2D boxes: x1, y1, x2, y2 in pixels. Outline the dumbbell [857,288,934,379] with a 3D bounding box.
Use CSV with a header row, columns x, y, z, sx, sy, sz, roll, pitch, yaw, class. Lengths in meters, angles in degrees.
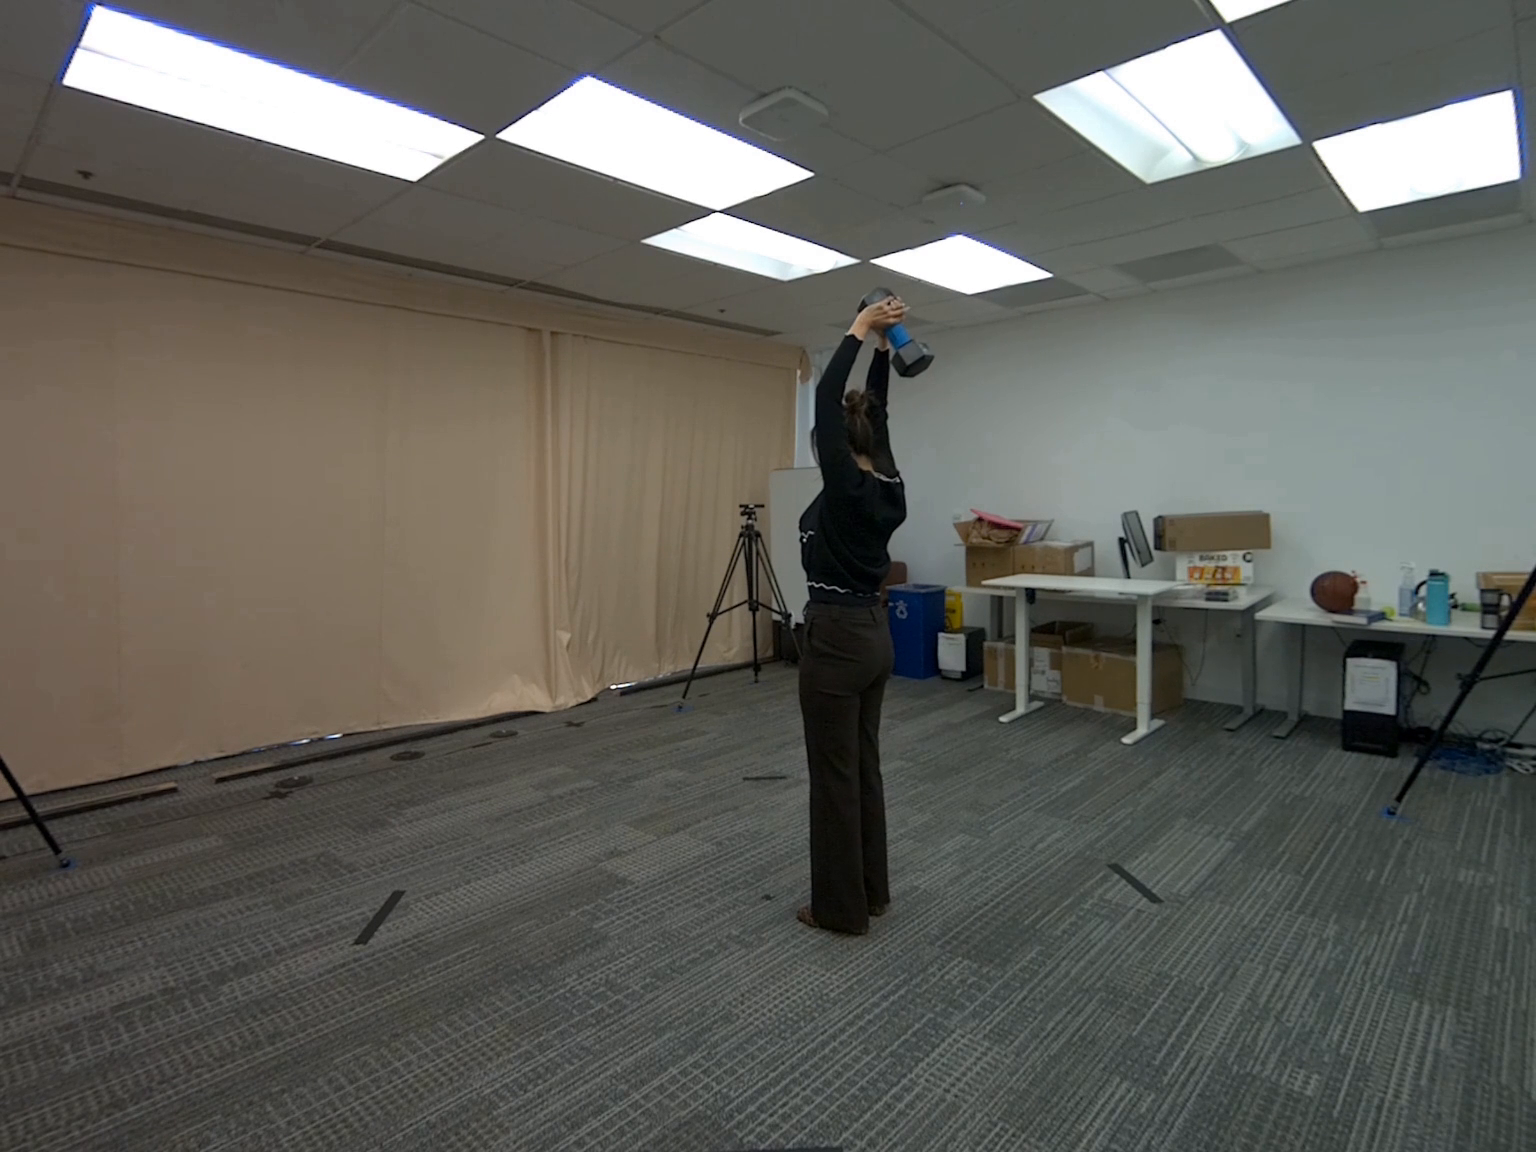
x,y,z,sx,sy,sz,roll,pitch,yaw,class
0.409,-0.766,2.656,0.124,0.299,0.106,-31,-18,12,dumbbell
